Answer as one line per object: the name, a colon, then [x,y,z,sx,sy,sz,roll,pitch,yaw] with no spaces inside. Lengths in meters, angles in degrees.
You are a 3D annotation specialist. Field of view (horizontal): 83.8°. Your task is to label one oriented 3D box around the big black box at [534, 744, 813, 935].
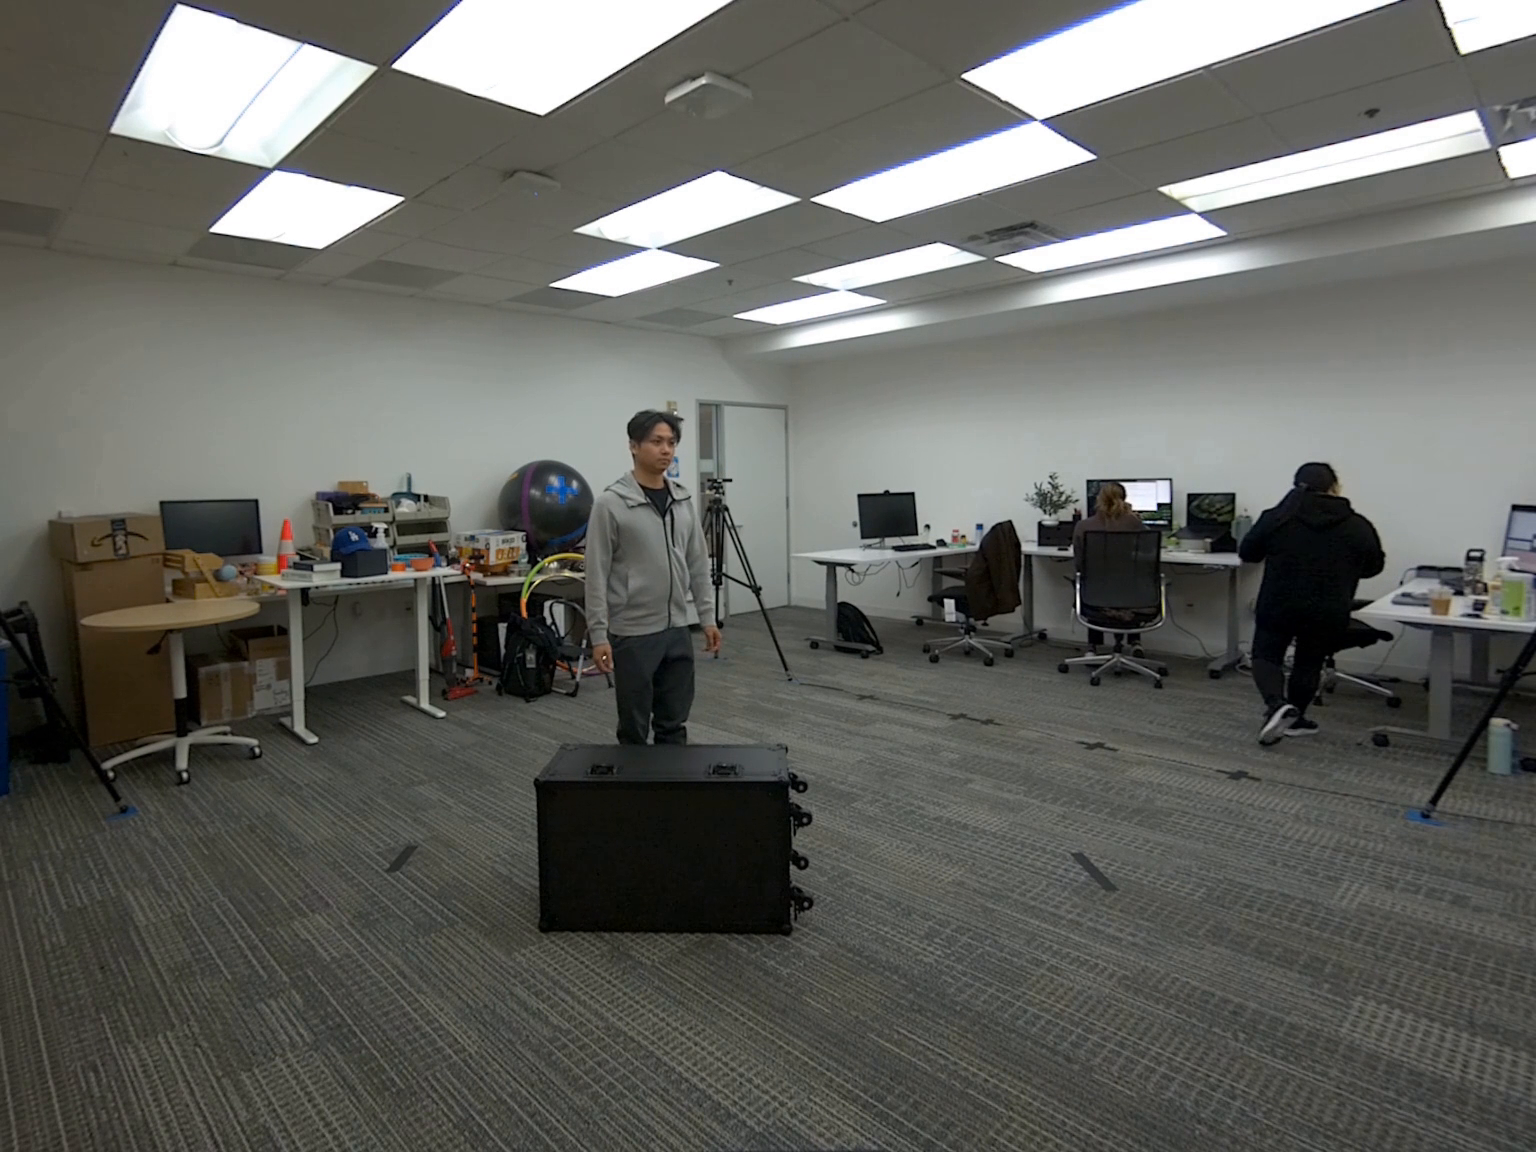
big black box: [-0.288,0.840,2.806,0.865,0.519,0.396,-1,4,4]
